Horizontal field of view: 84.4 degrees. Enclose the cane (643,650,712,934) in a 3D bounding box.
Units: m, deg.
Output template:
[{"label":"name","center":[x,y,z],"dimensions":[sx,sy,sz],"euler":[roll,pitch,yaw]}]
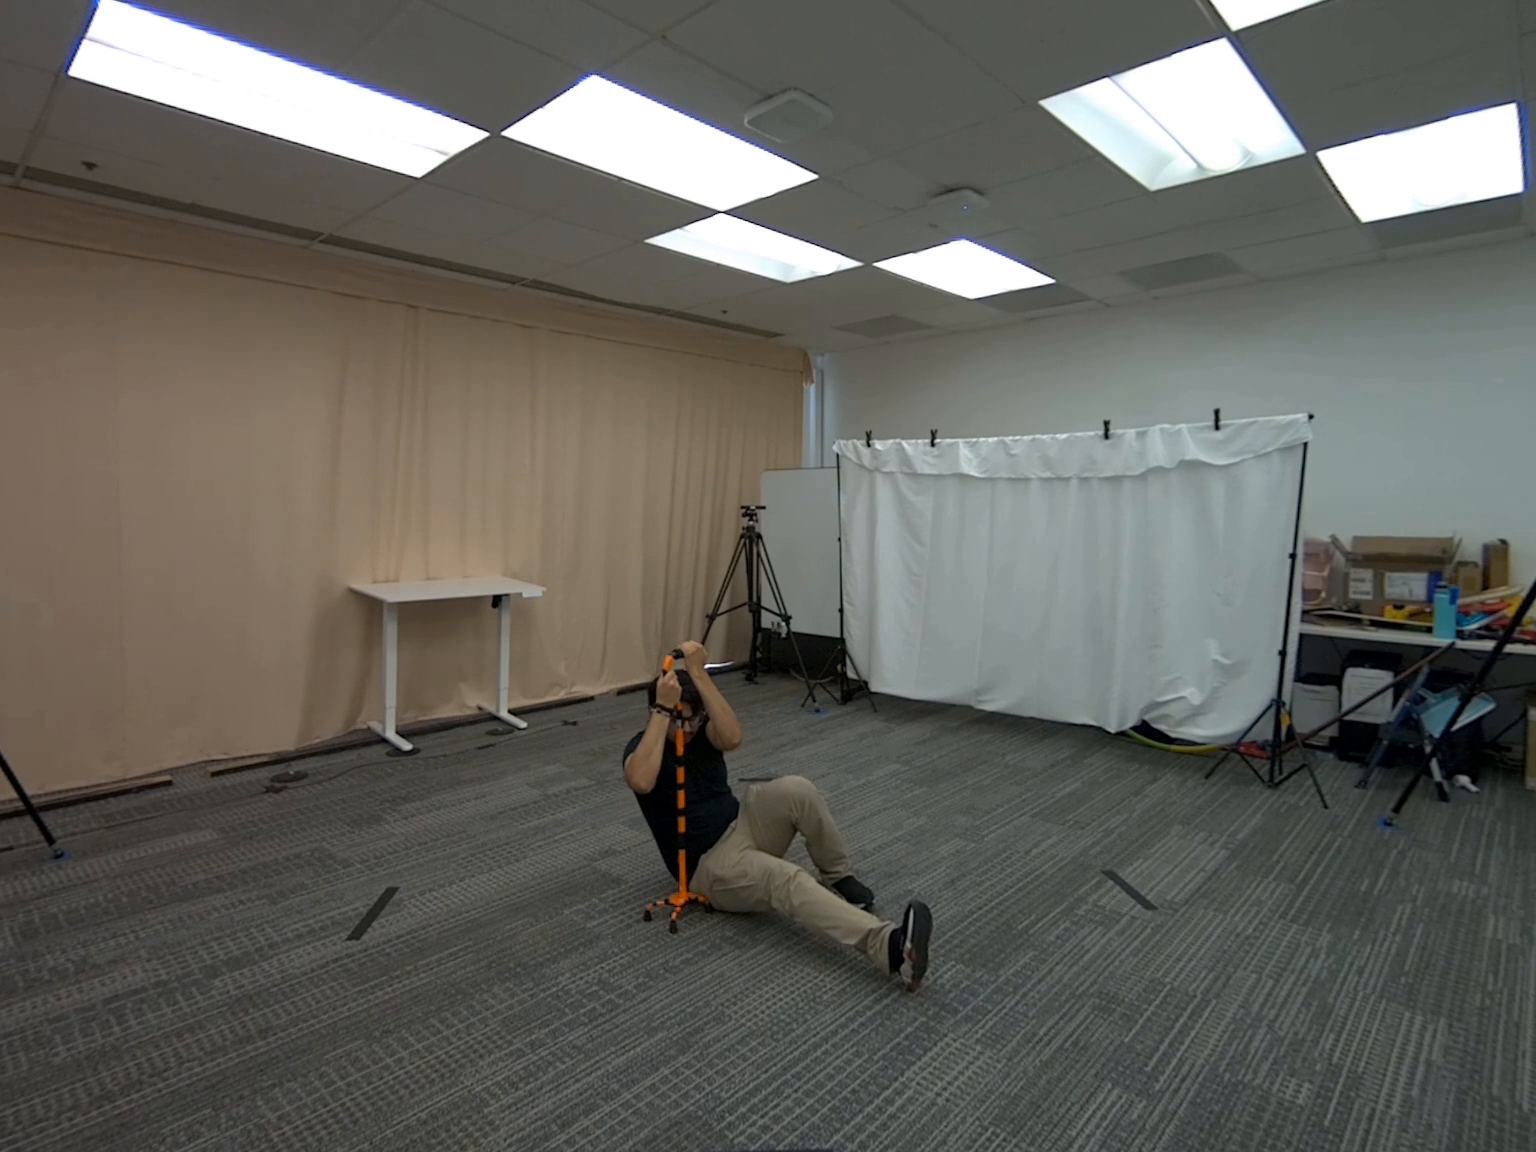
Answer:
[{"label":"cane","center":[-0.315,0.694,2.857],"dimensions":[0.156,0.907,0.200],"euler":[0,1,41]}]
